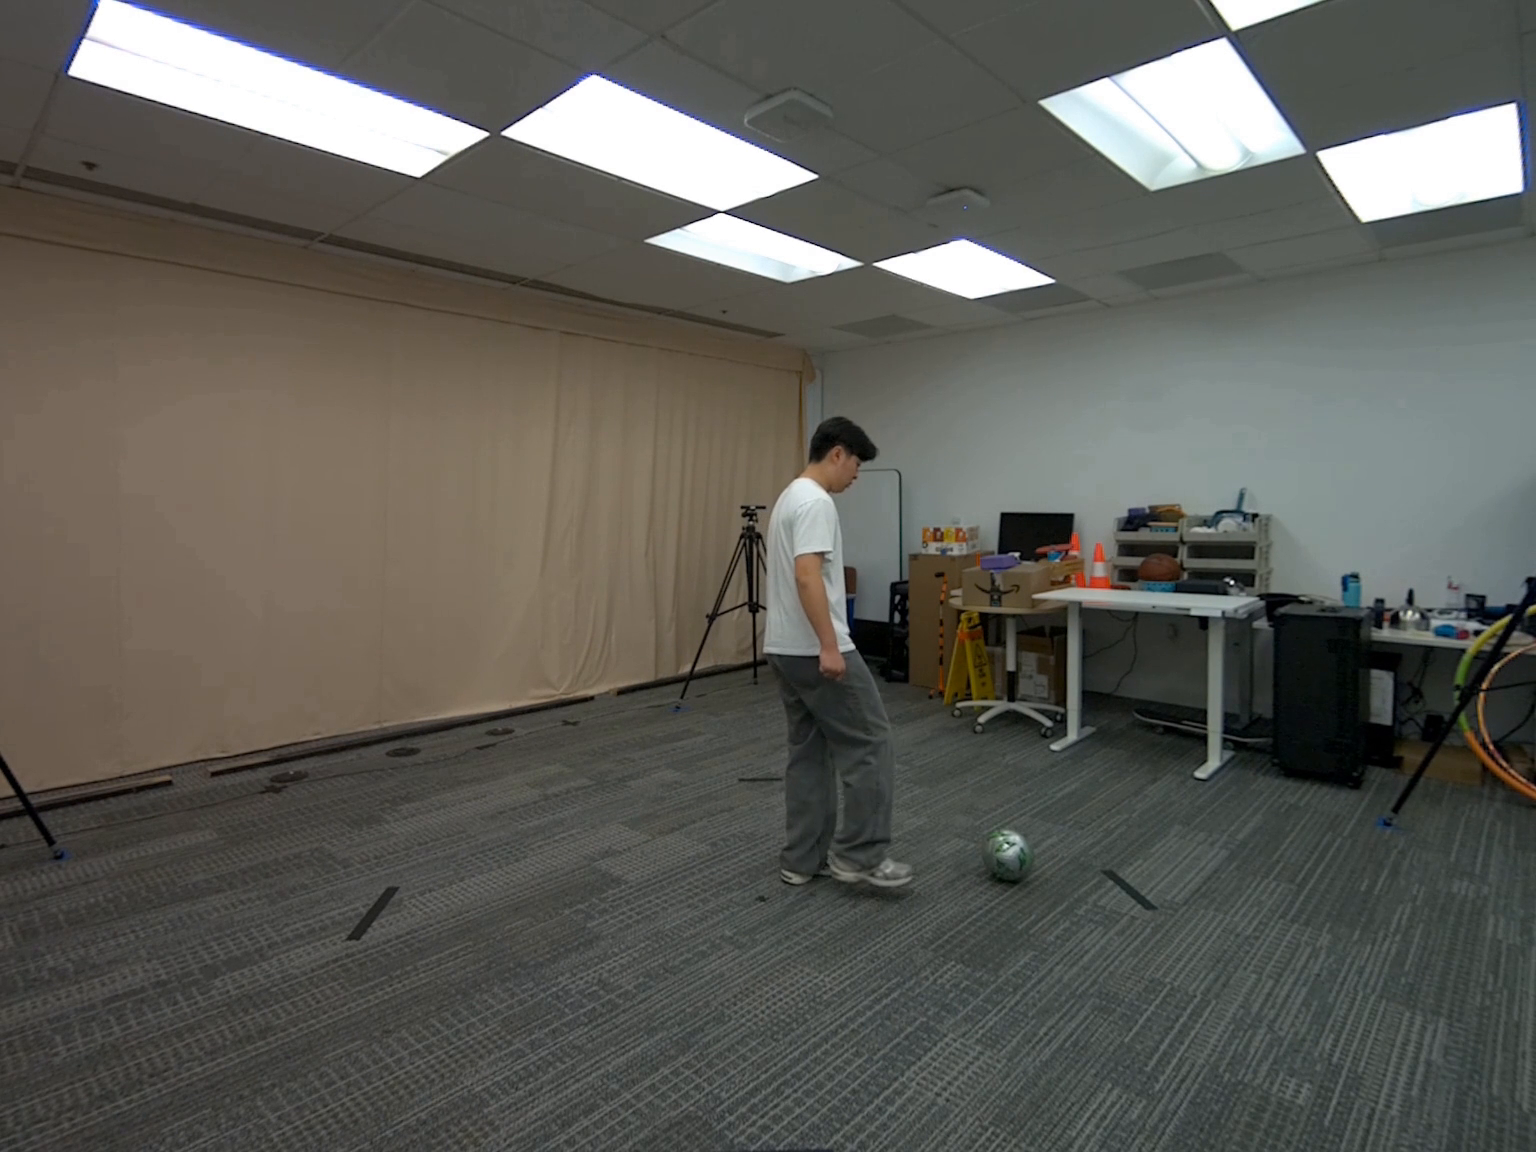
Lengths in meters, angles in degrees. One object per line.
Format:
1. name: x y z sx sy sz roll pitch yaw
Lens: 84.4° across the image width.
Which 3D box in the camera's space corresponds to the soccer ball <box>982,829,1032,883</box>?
1. soccer ball: 0.898 1.038 3.119 0.187 0.187 0.188 0 4 -2
